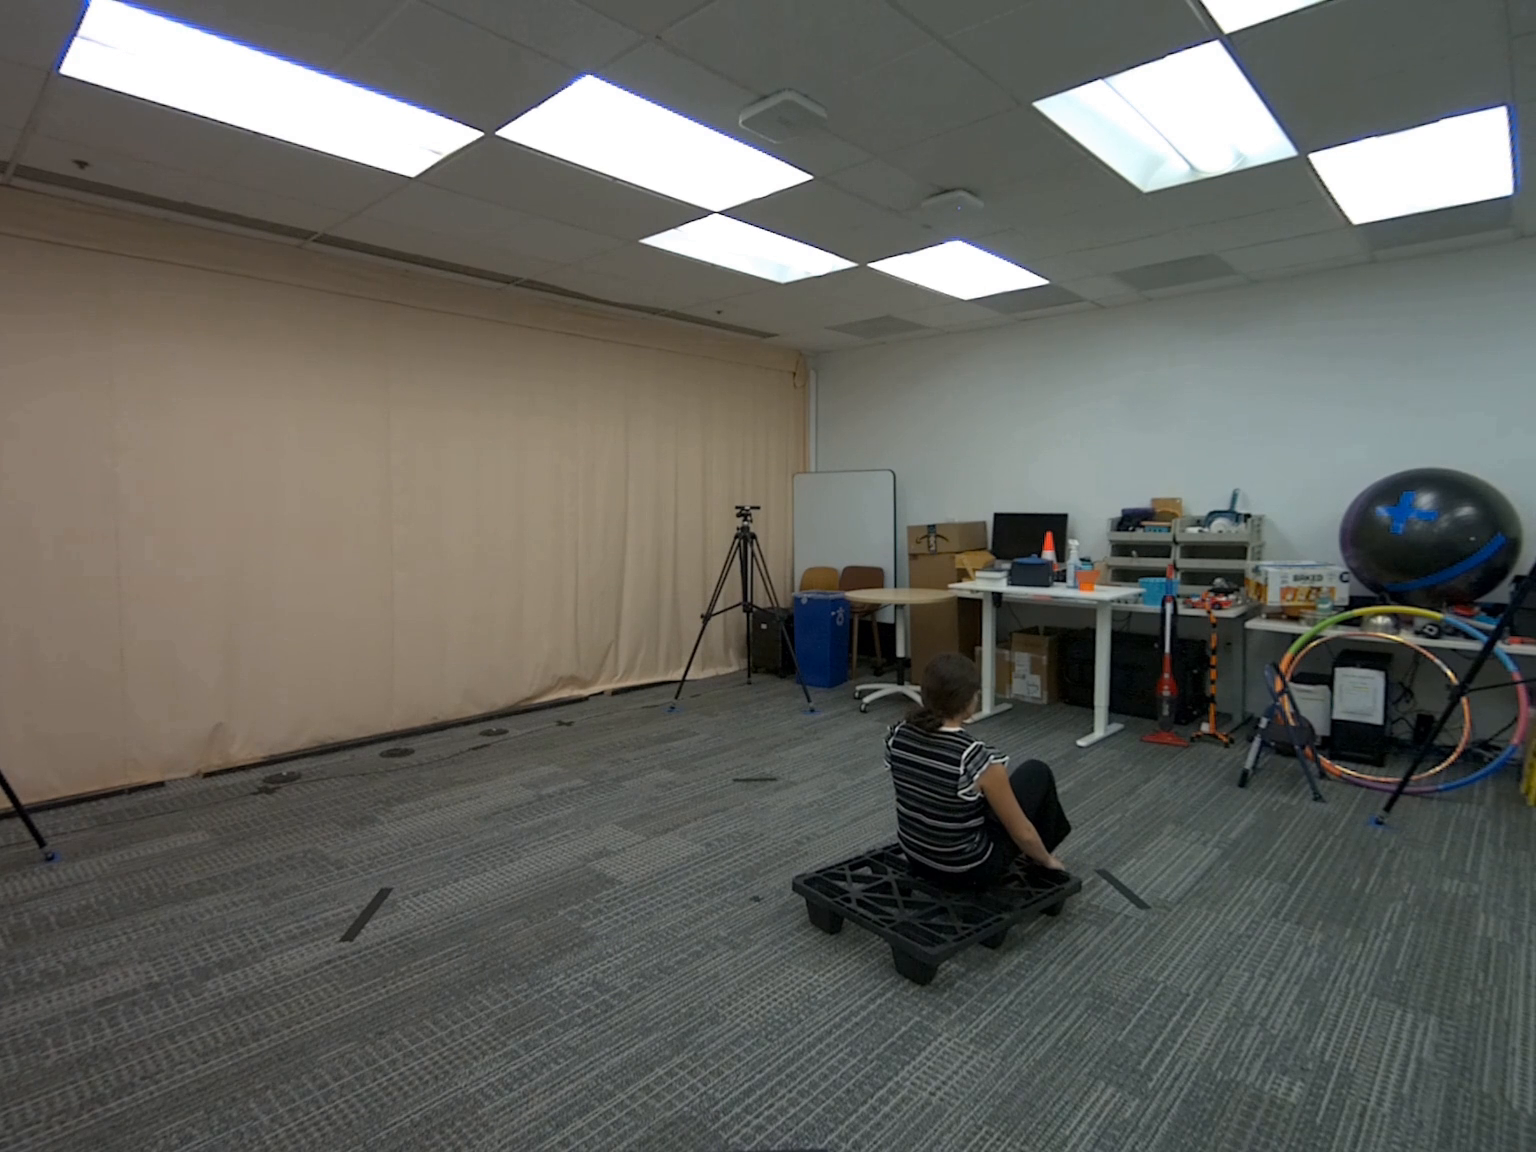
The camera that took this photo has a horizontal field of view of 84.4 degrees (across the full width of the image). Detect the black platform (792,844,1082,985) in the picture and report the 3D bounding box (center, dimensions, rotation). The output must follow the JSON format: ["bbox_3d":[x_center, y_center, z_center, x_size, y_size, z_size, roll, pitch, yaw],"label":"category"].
[{"bbox_3d":[0.575,1.089,2.829,0.781,0.143,0.625,-3,7,-39],"label":"black platform"}]
